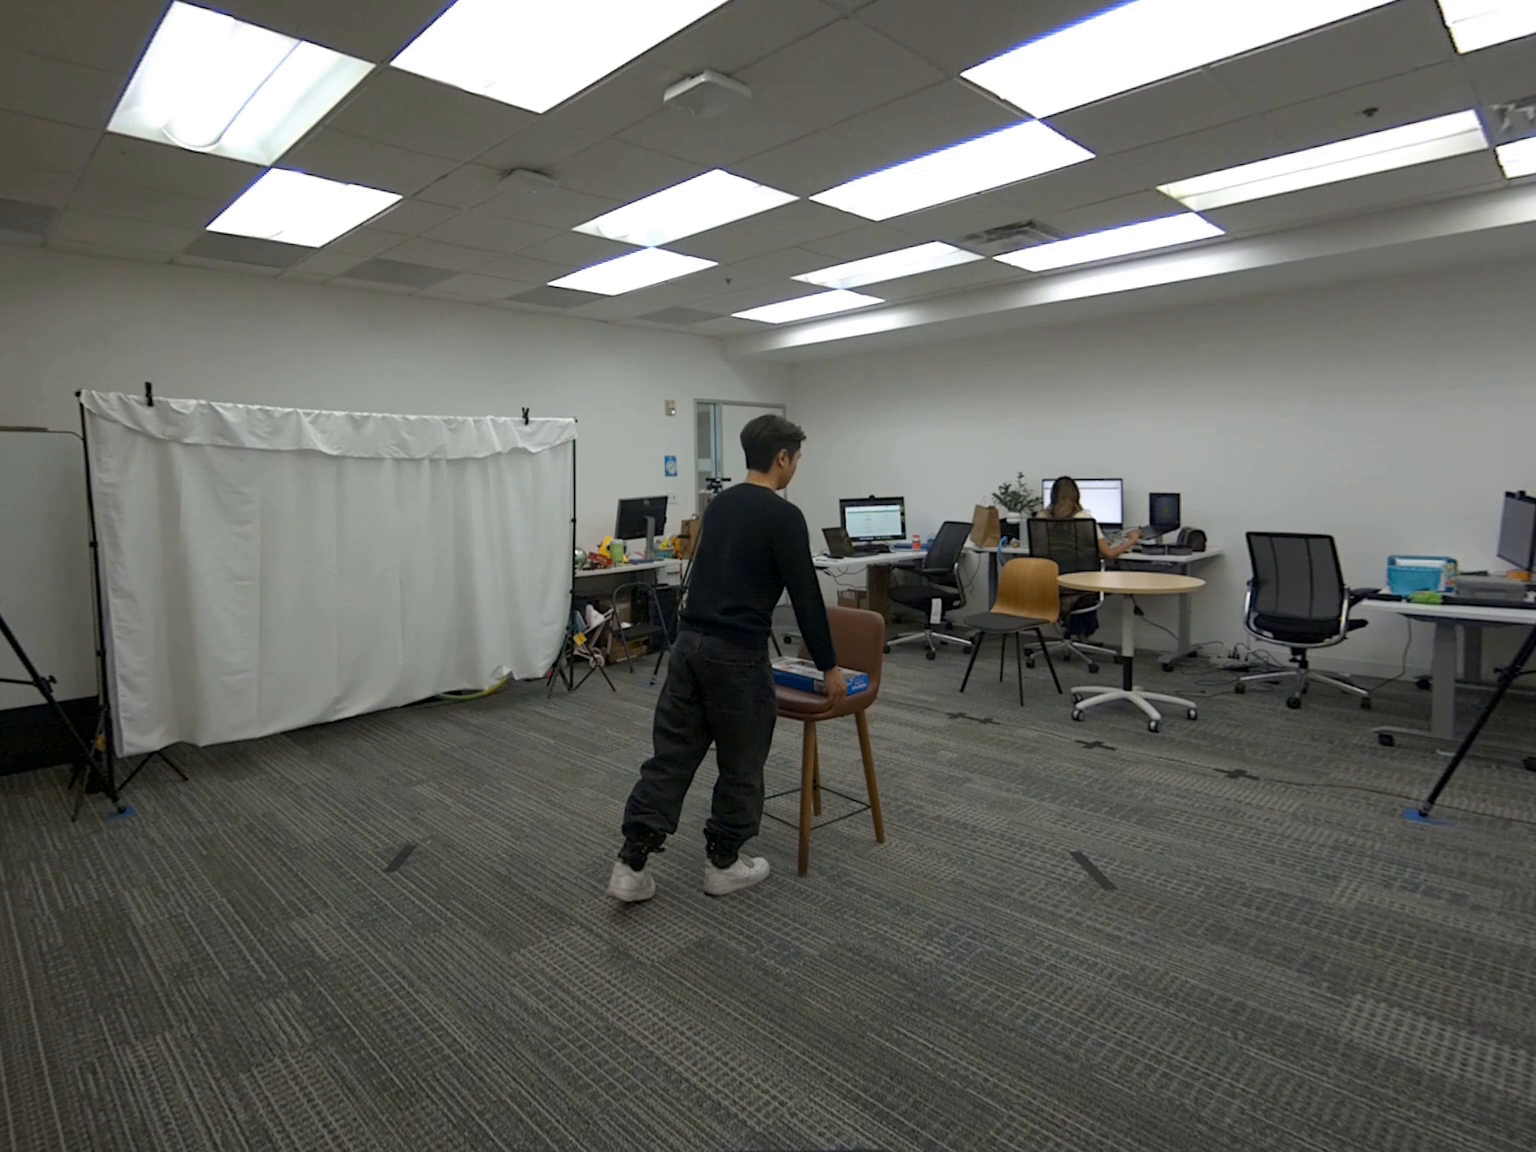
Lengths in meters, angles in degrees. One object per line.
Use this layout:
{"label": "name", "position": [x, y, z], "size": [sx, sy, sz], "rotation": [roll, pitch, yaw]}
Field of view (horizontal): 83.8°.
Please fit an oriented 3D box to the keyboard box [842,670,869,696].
{"label": "keyboard box", "position": [0.156, 0.369, 3.237], "size": [0.172, 0.059, 0.450], "rotation": [-10, 11, -40]}
